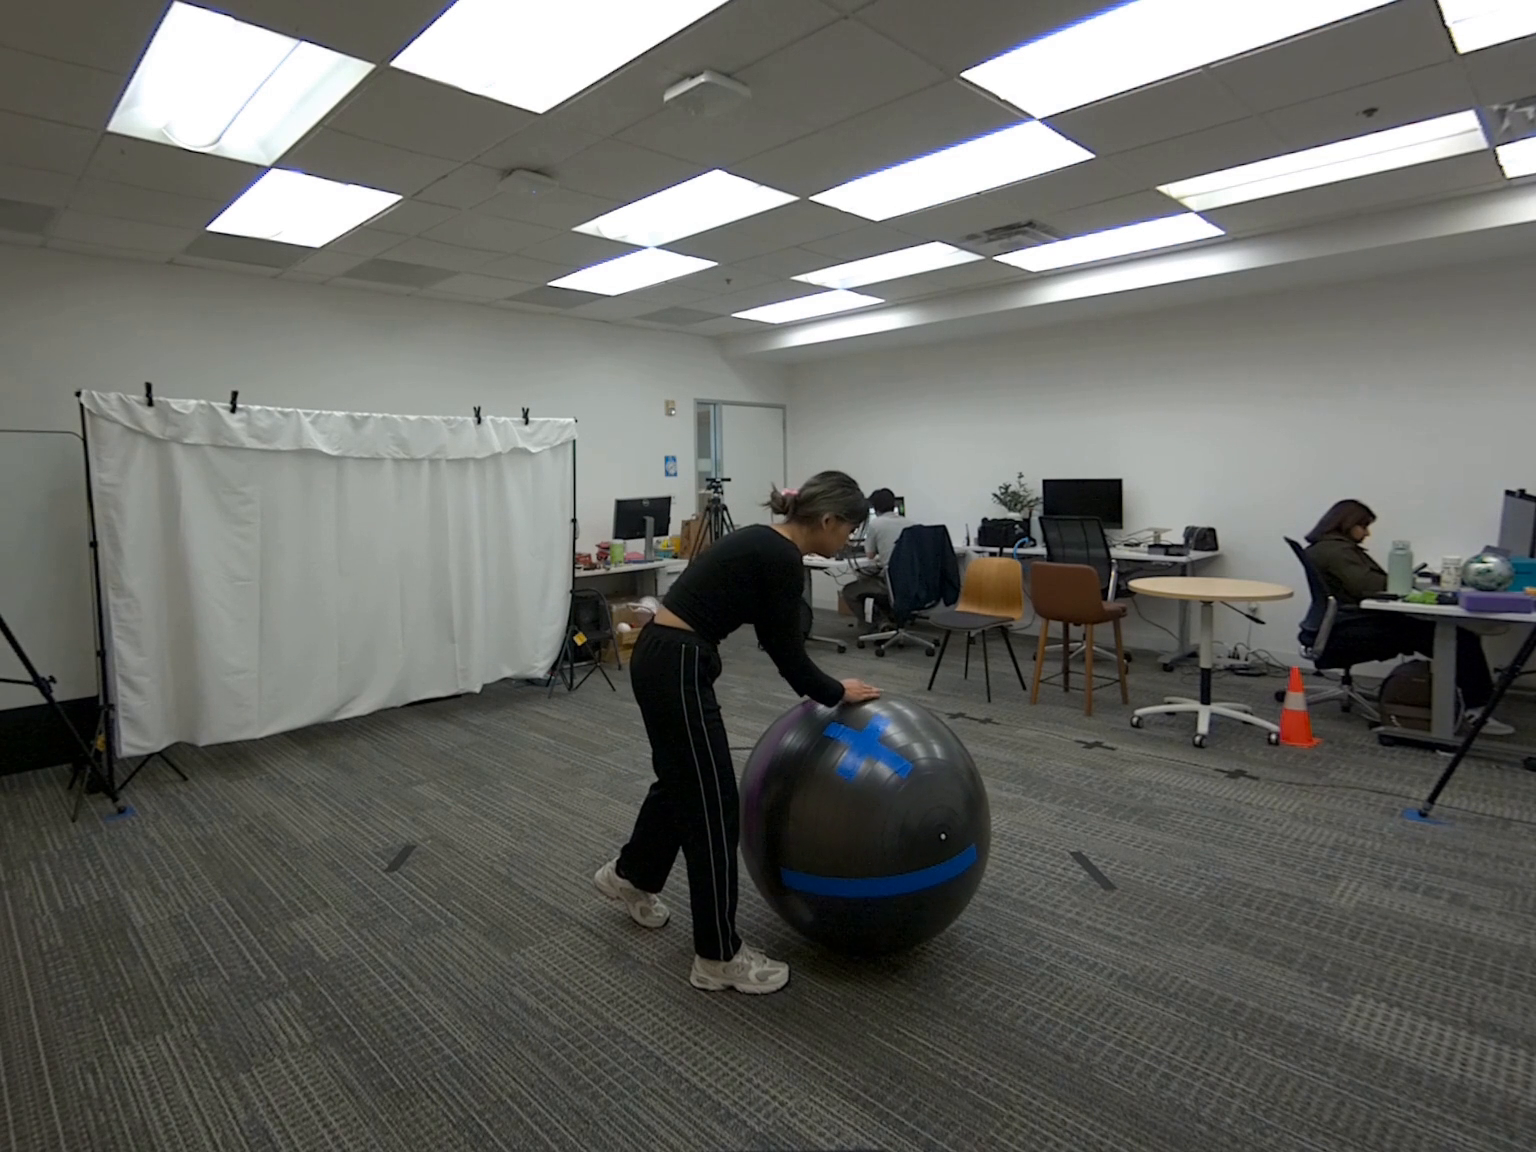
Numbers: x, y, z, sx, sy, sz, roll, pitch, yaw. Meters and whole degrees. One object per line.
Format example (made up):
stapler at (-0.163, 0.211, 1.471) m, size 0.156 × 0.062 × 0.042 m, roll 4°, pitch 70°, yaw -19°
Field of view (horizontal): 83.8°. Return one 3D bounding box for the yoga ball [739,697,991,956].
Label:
yoga ball at (0.289, 0.731, 2.591) m, size 0.757 × 0.755 × 0.762 m, roll -1°, pitch 5°, yaw -2°
